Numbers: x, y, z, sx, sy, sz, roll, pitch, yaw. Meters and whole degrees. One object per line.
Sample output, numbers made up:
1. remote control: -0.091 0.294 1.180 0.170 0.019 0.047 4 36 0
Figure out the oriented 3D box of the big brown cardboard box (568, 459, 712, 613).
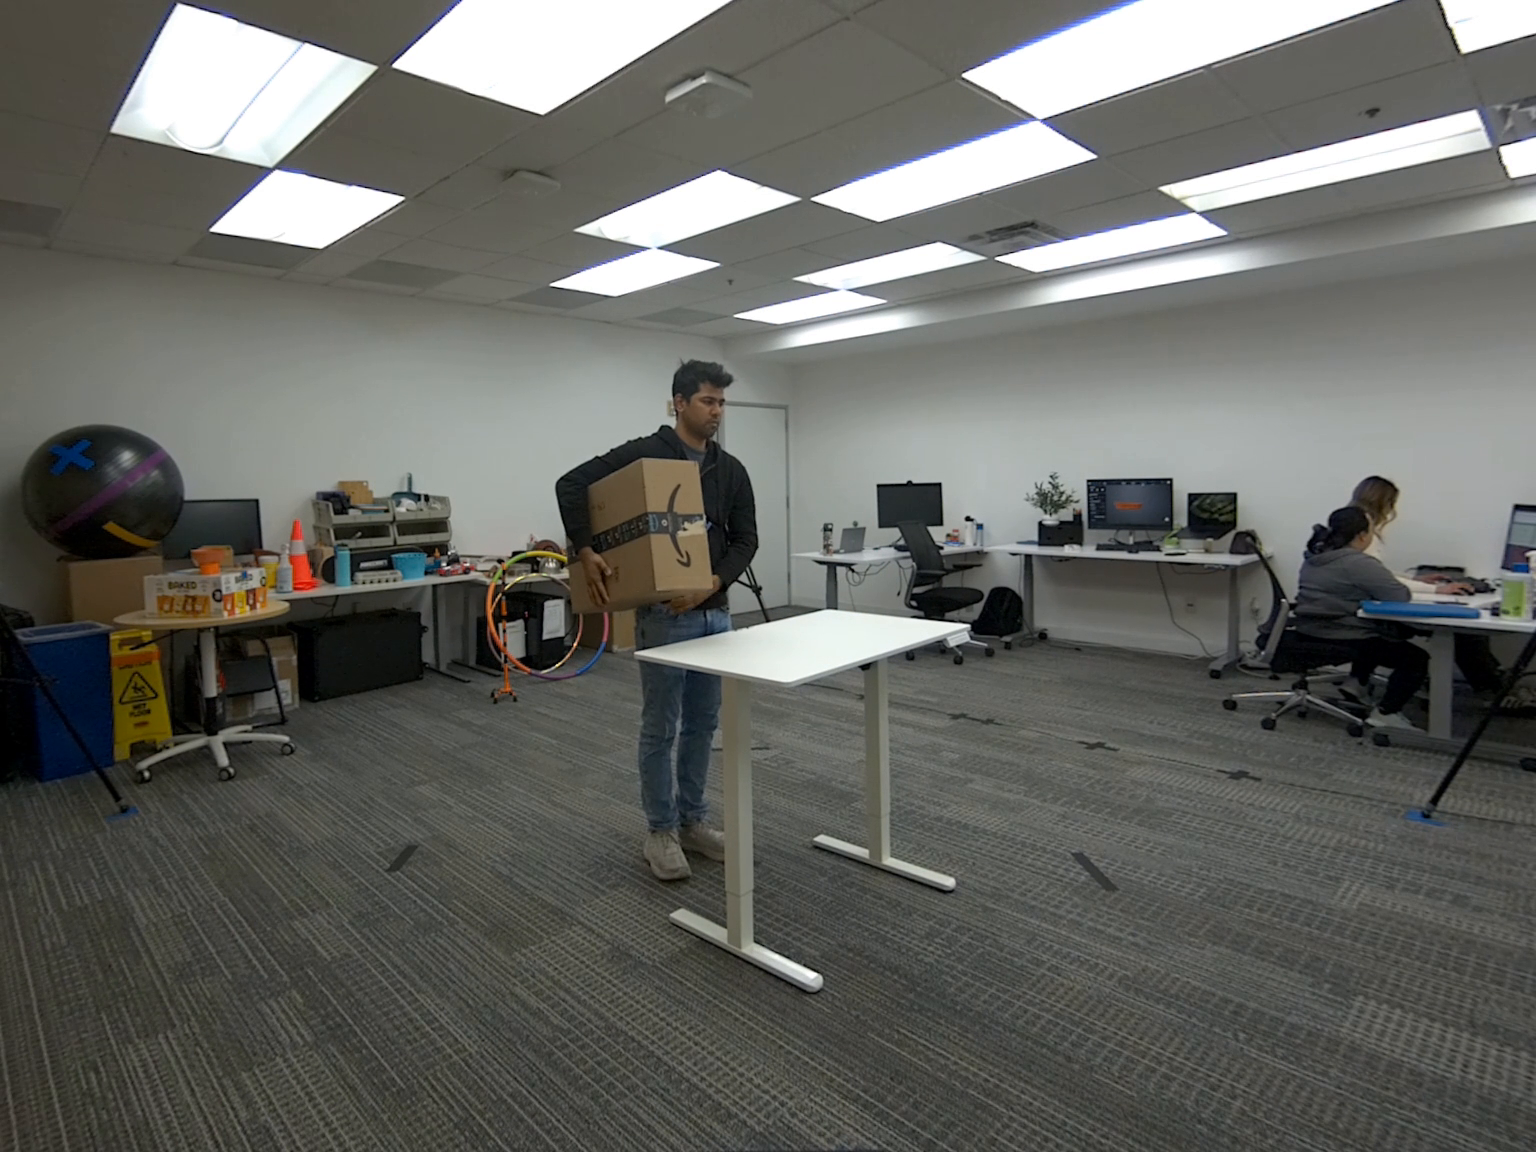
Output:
1. big brown cardboard box: -0.459 -0.110 2.879 0.227 0.421 0.600 -1 -9 -37
